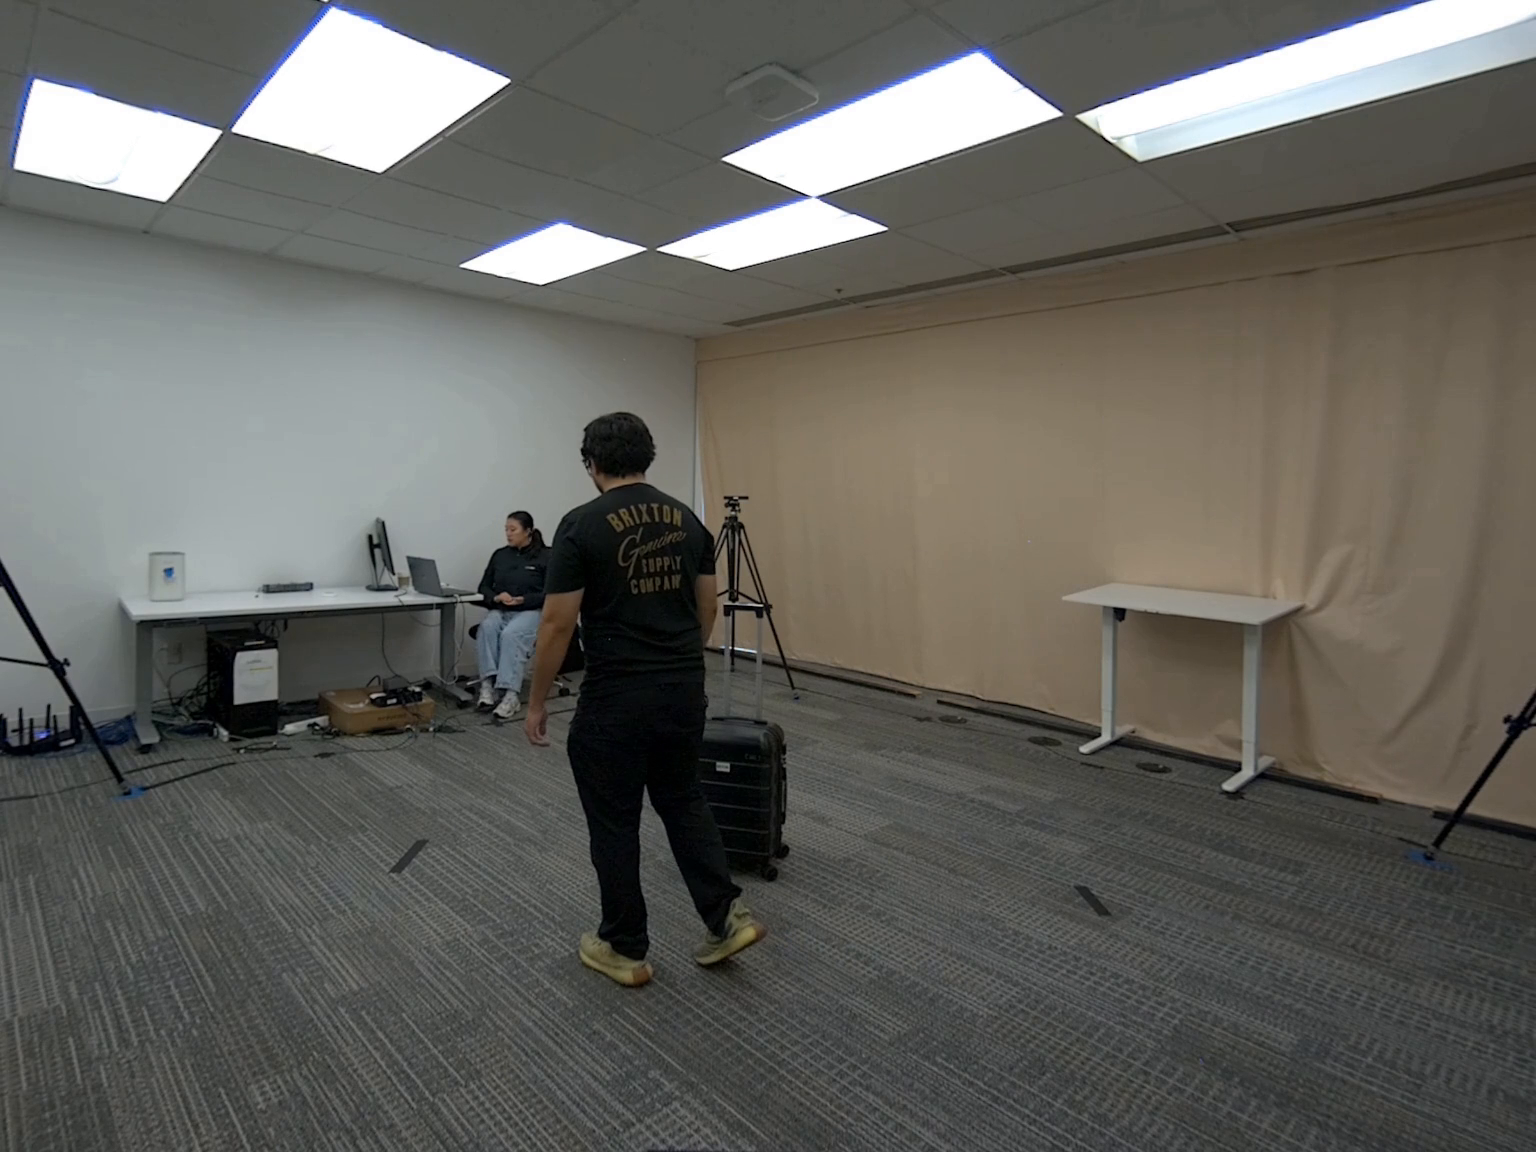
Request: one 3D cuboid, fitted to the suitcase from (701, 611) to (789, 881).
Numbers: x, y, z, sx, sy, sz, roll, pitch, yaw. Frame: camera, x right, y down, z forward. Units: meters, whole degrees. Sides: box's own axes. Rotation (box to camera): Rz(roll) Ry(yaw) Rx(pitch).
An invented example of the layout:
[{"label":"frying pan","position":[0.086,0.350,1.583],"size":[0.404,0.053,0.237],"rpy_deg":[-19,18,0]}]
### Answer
[{"label":"suitcase","position":[-0.123,0.622,3.170],"size":[0.389,0.974,0.255],"rpy_deg":[1,6,15]}]
